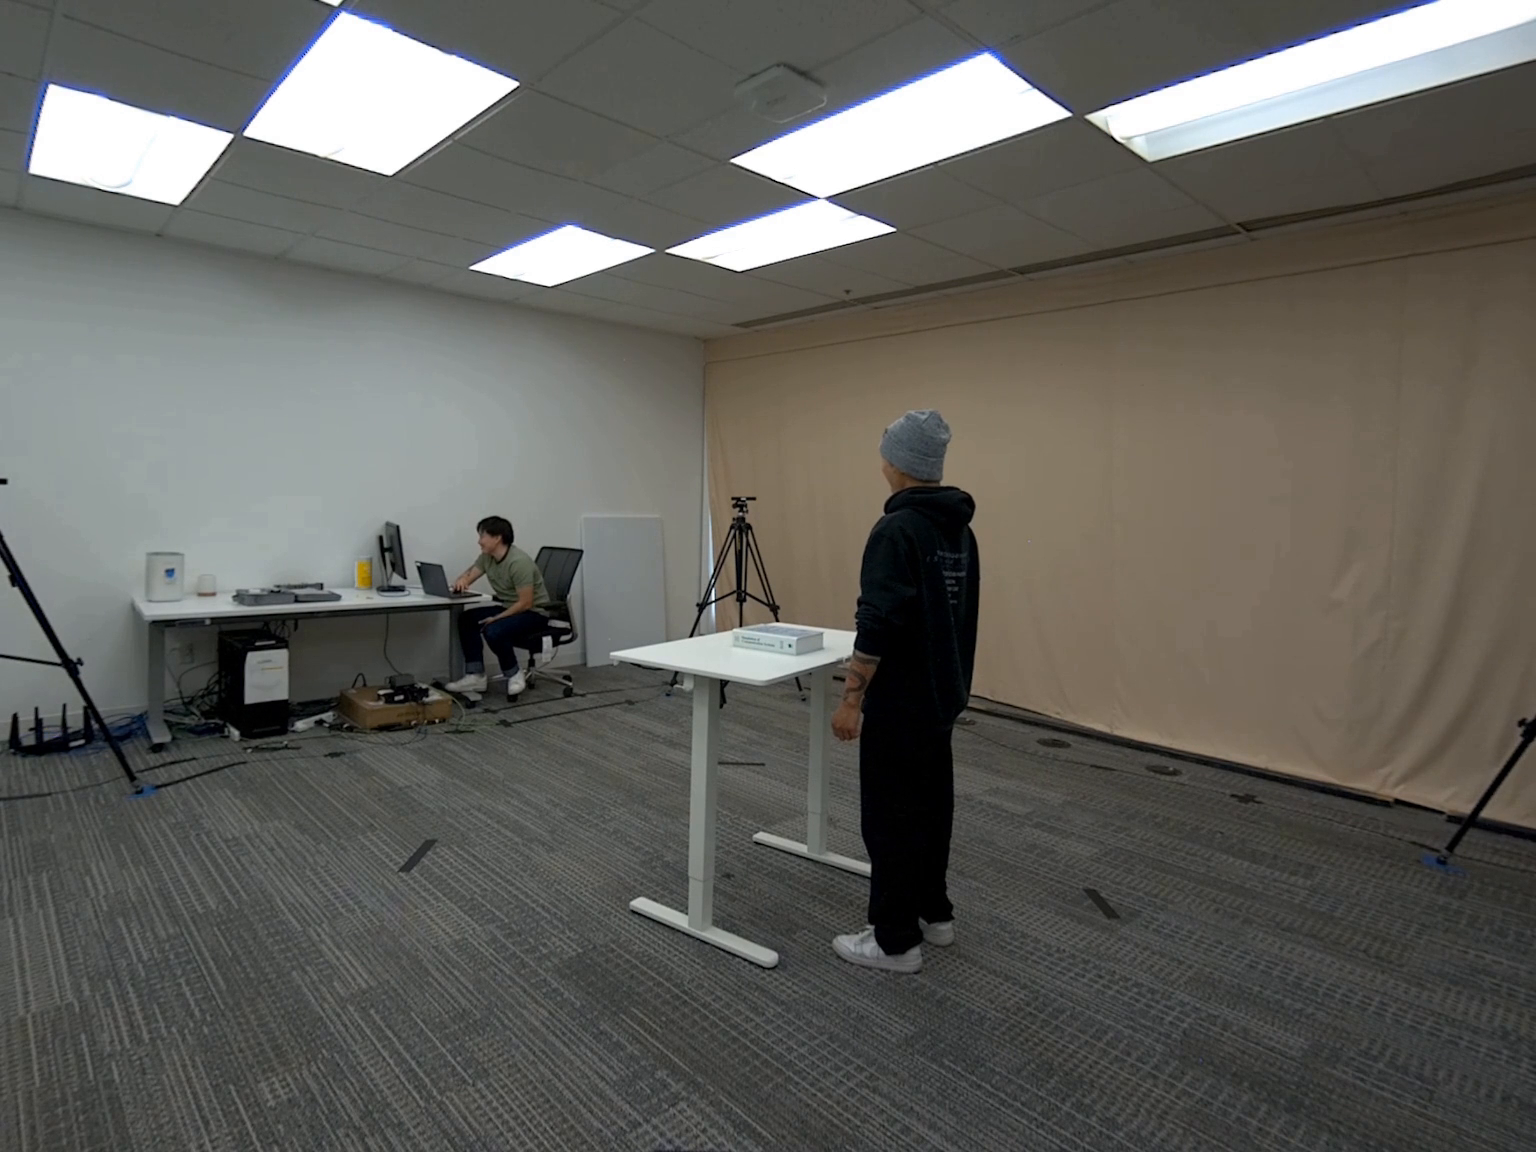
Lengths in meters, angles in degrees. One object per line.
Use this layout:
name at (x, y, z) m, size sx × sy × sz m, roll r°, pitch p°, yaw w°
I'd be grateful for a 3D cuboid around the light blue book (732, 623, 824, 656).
light blue book at (0.029, 0.220, 2.908) m, size 0.267 × 0.059 × 0.187 m, roll 5°, pitch 6°, yaw 35°
